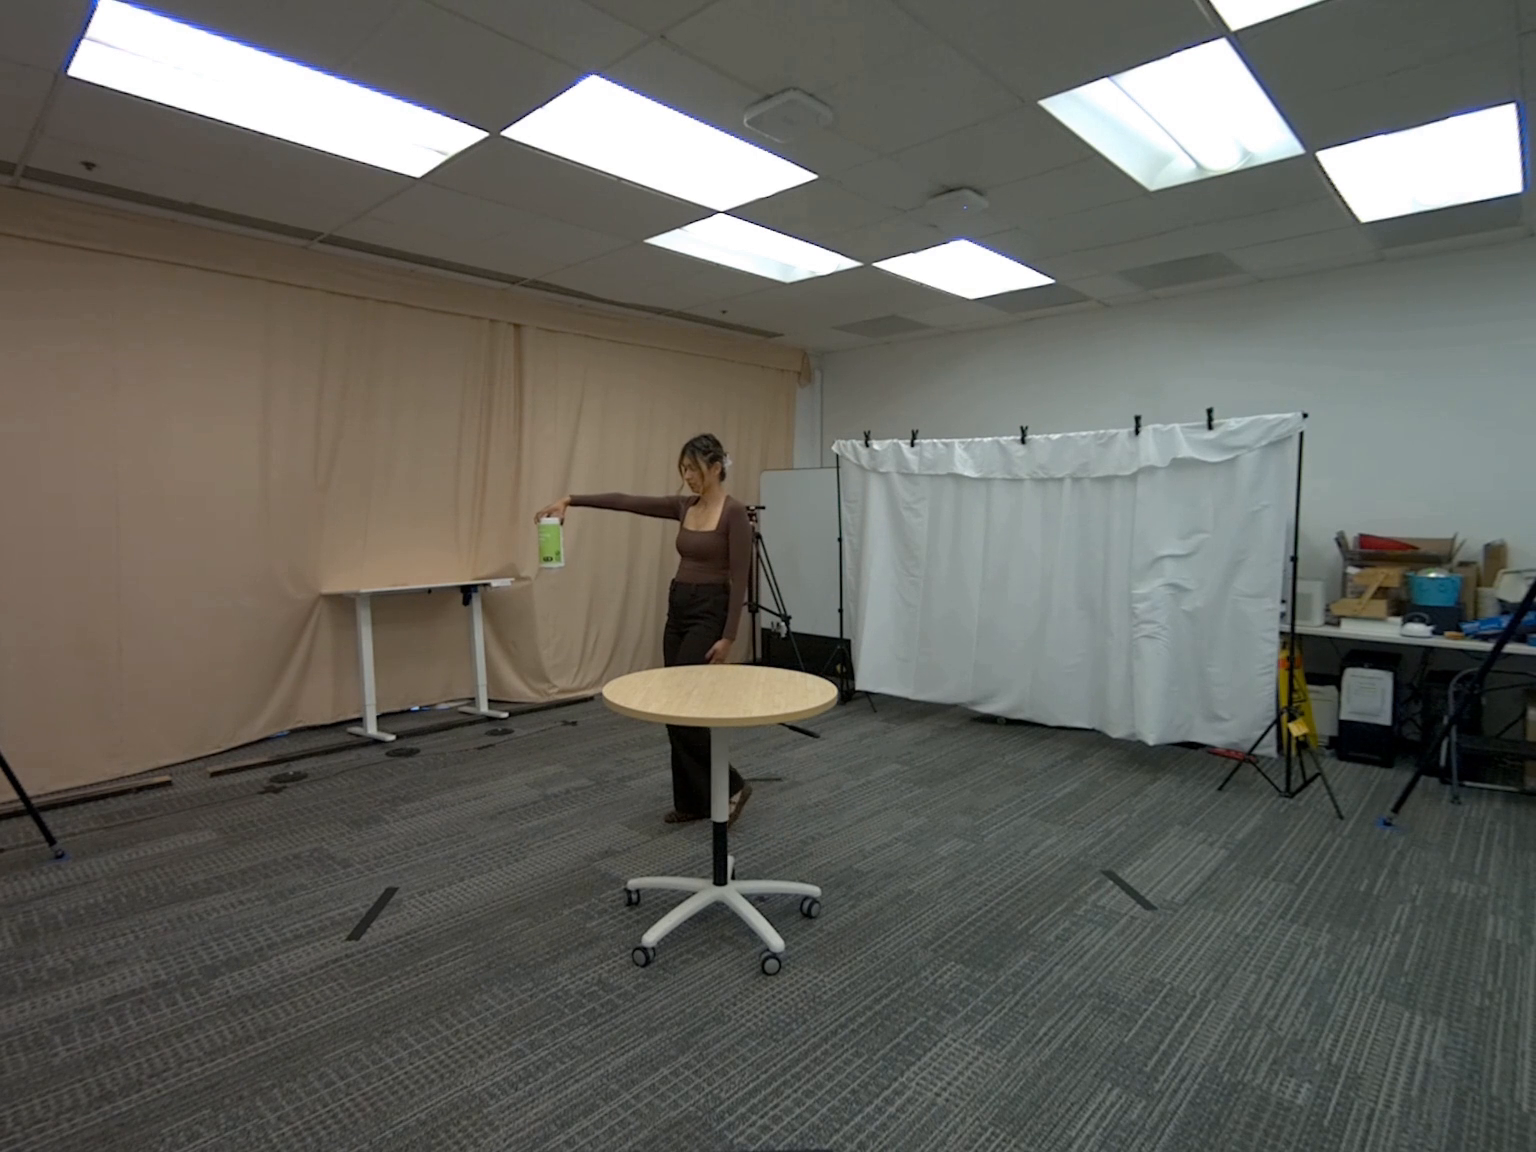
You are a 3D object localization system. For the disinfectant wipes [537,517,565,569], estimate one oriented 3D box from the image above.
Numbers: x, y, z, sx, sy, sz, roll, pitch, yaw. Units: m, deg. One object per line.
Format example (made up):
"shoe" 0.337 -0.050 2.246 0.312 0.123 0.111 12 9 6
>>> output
"disinfectant wipes" -0.941 -0.145 3.634 0.118 0.217 0.118 -2 5 -2
